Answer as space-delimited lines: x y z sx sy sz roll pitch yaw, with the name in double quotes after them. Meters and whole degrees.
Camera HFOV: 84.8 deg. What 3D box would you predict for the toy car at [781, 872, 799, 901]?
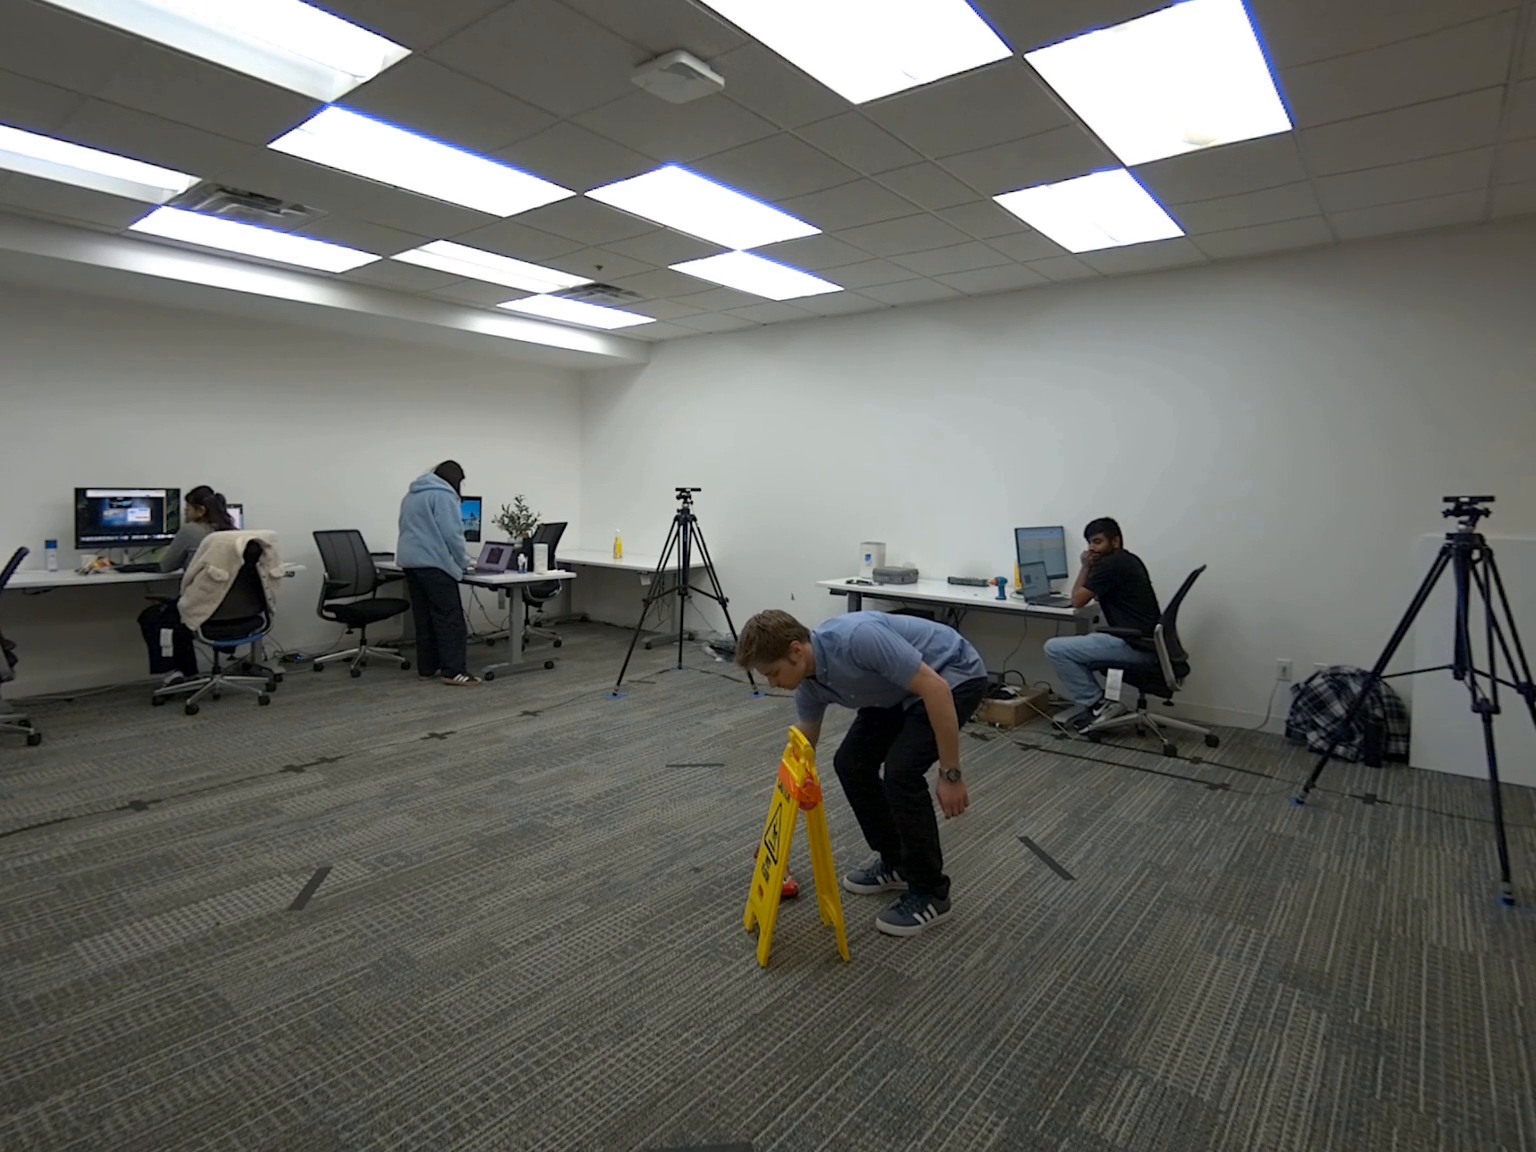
0.026 1.056 2.989 0.129 0.082 0.260 -1 16 -9 "toy car"
